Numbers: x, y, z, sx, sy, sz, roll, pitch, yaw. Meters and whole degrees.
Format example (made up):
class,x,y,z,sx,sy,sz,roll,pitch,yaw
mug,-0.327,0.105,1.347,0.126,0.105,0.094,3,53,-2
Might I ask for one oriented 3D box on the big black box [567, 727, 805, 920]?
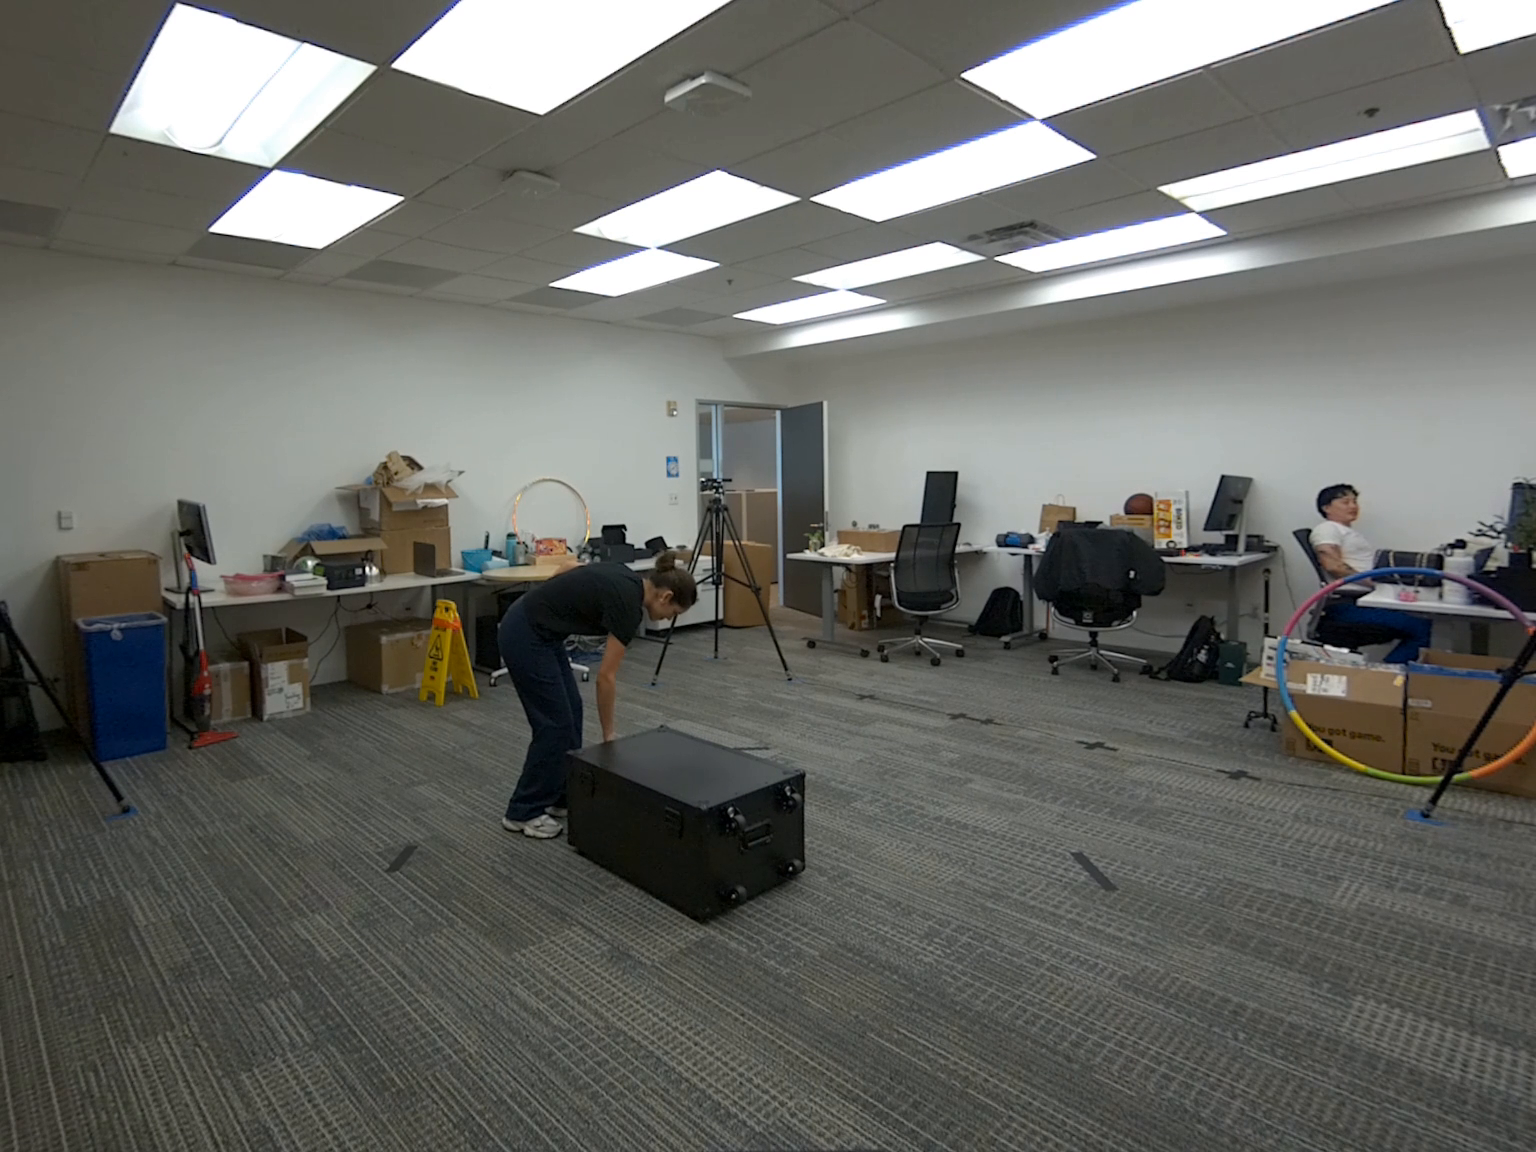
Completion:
class,x,y,z,sx,sy,sz,roll,pitch,yaw
big black box,-0.295,0.860,3.090,0.508,0.394,0.888,-7,8,-44
